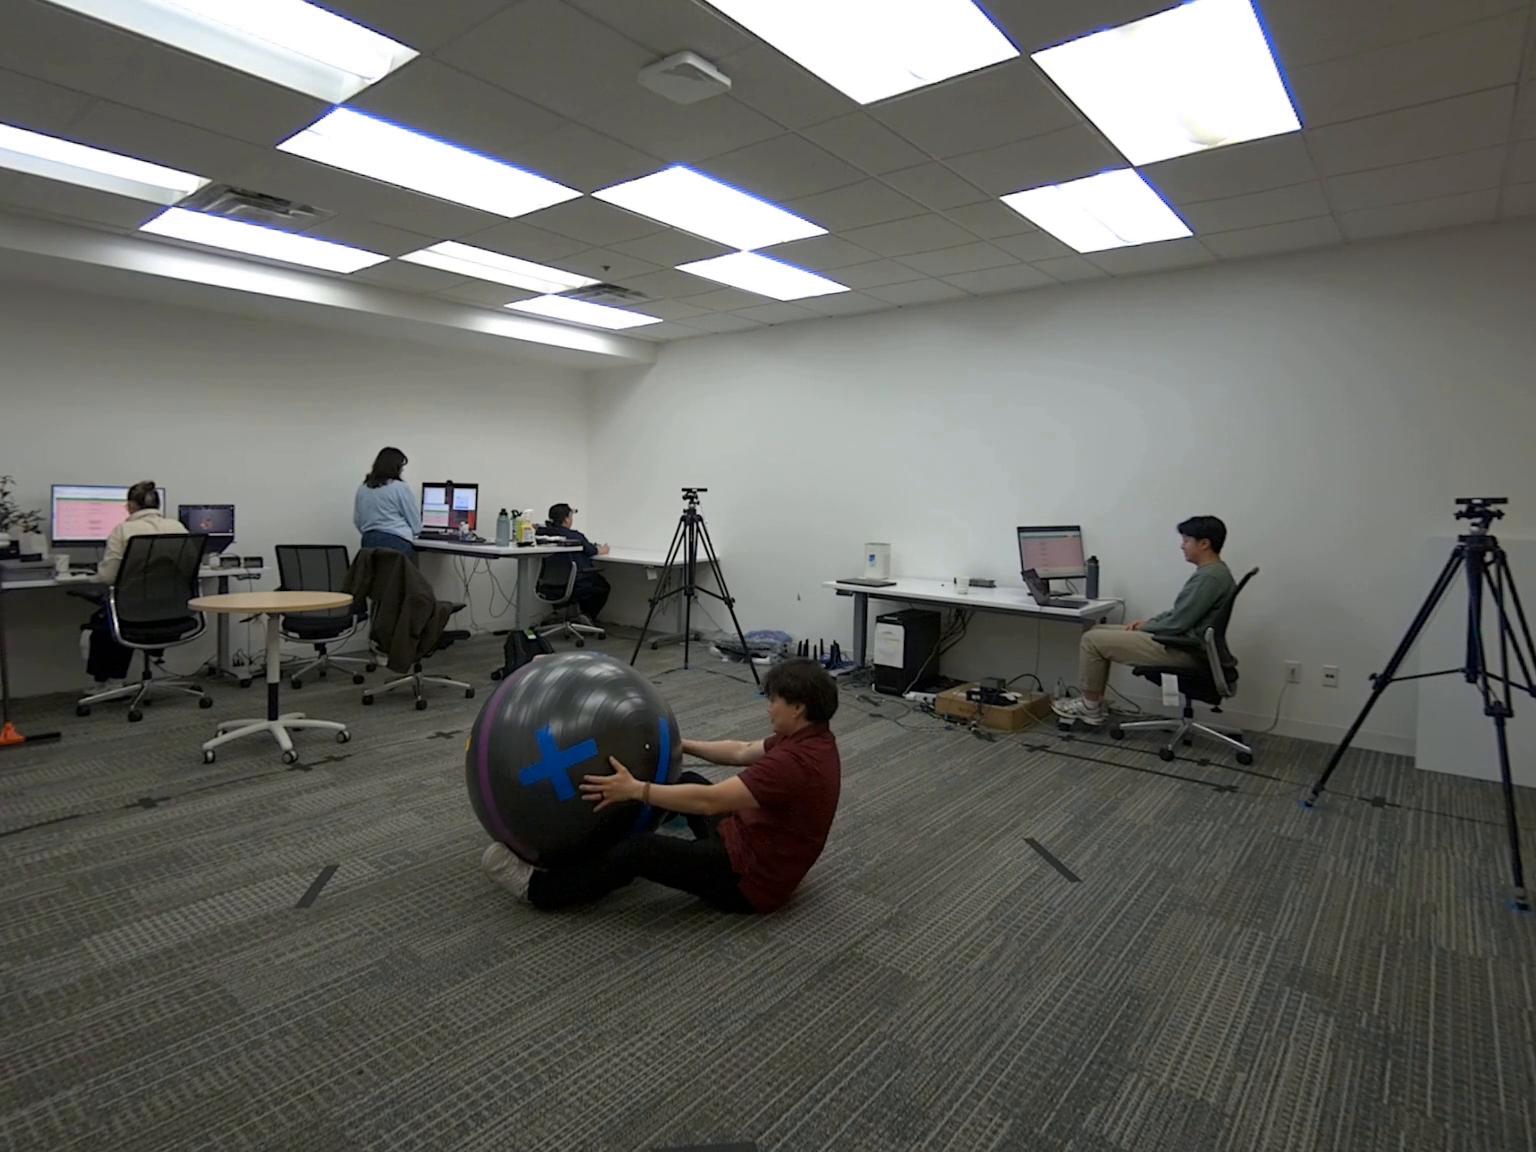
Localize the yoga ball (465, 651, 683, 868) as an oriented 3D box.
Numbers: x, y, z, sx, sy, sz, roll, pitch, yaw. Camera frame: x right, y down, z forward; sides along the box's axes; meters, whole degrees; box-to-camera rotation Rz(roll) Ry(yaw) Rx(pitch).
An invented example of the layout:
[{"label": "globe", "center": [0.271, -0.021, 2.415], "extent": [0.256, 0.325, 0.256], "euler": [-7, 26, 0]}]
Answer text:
[{"label": "yoga ball", "center": [-0.699, 0.651, 3.027], "extent": [0.757, 0.755, 0.762], "euler": [1, 4, -2]}]
